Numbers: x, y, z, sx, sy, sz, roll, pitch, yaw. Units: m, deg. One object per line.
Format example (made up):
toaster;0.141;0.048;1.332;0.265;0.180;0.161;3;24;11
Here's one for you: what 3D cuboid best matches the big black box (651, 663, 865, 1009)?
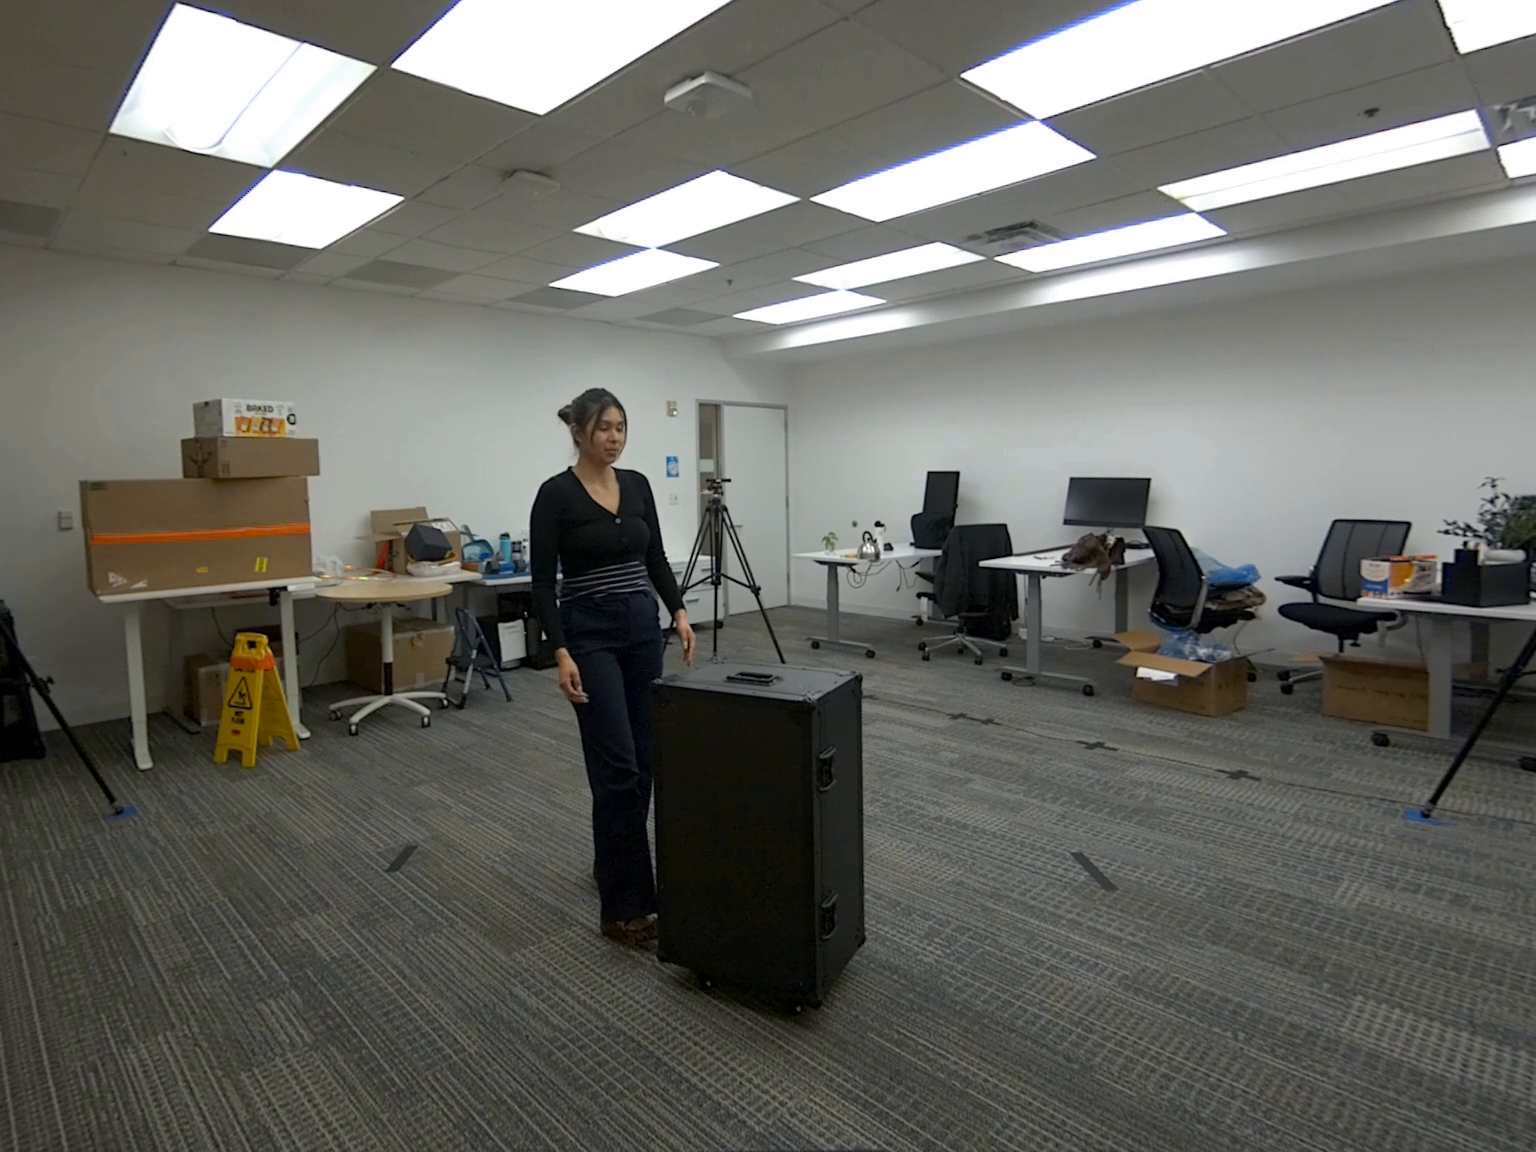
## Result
big black box;-0.016;0.705;2.392;0.534;0.859;0.388;0;4;28
